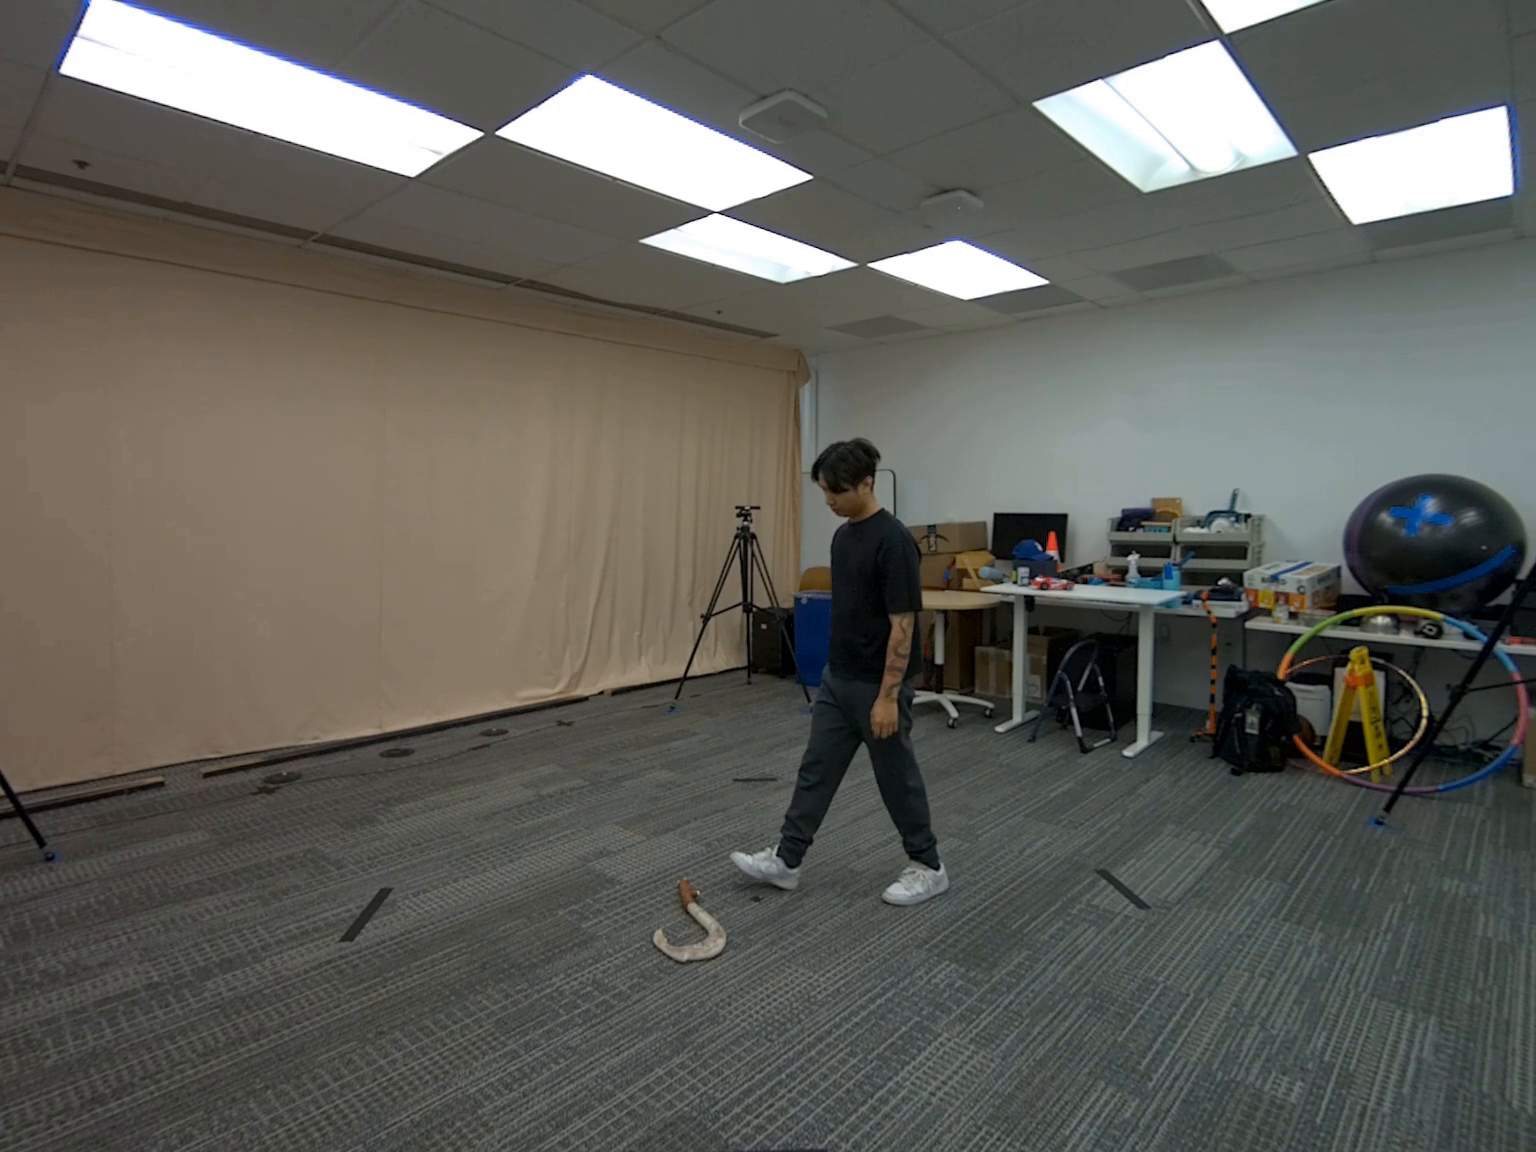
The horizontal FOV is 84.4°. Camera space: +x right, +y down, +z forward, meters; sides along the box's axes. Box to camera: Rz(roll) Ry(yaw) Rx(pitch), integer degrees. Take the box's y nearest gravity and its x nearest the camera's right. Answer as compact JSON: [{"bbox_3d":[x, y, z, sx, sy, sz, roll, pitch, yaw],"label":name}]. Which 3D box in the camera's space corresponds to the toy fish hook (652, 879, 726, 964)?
[{"bbox_3d":[-0.287,1.134,2.809,0.221,0.048,0.515,0,4,-16],"label":"toy fish hook"}]
